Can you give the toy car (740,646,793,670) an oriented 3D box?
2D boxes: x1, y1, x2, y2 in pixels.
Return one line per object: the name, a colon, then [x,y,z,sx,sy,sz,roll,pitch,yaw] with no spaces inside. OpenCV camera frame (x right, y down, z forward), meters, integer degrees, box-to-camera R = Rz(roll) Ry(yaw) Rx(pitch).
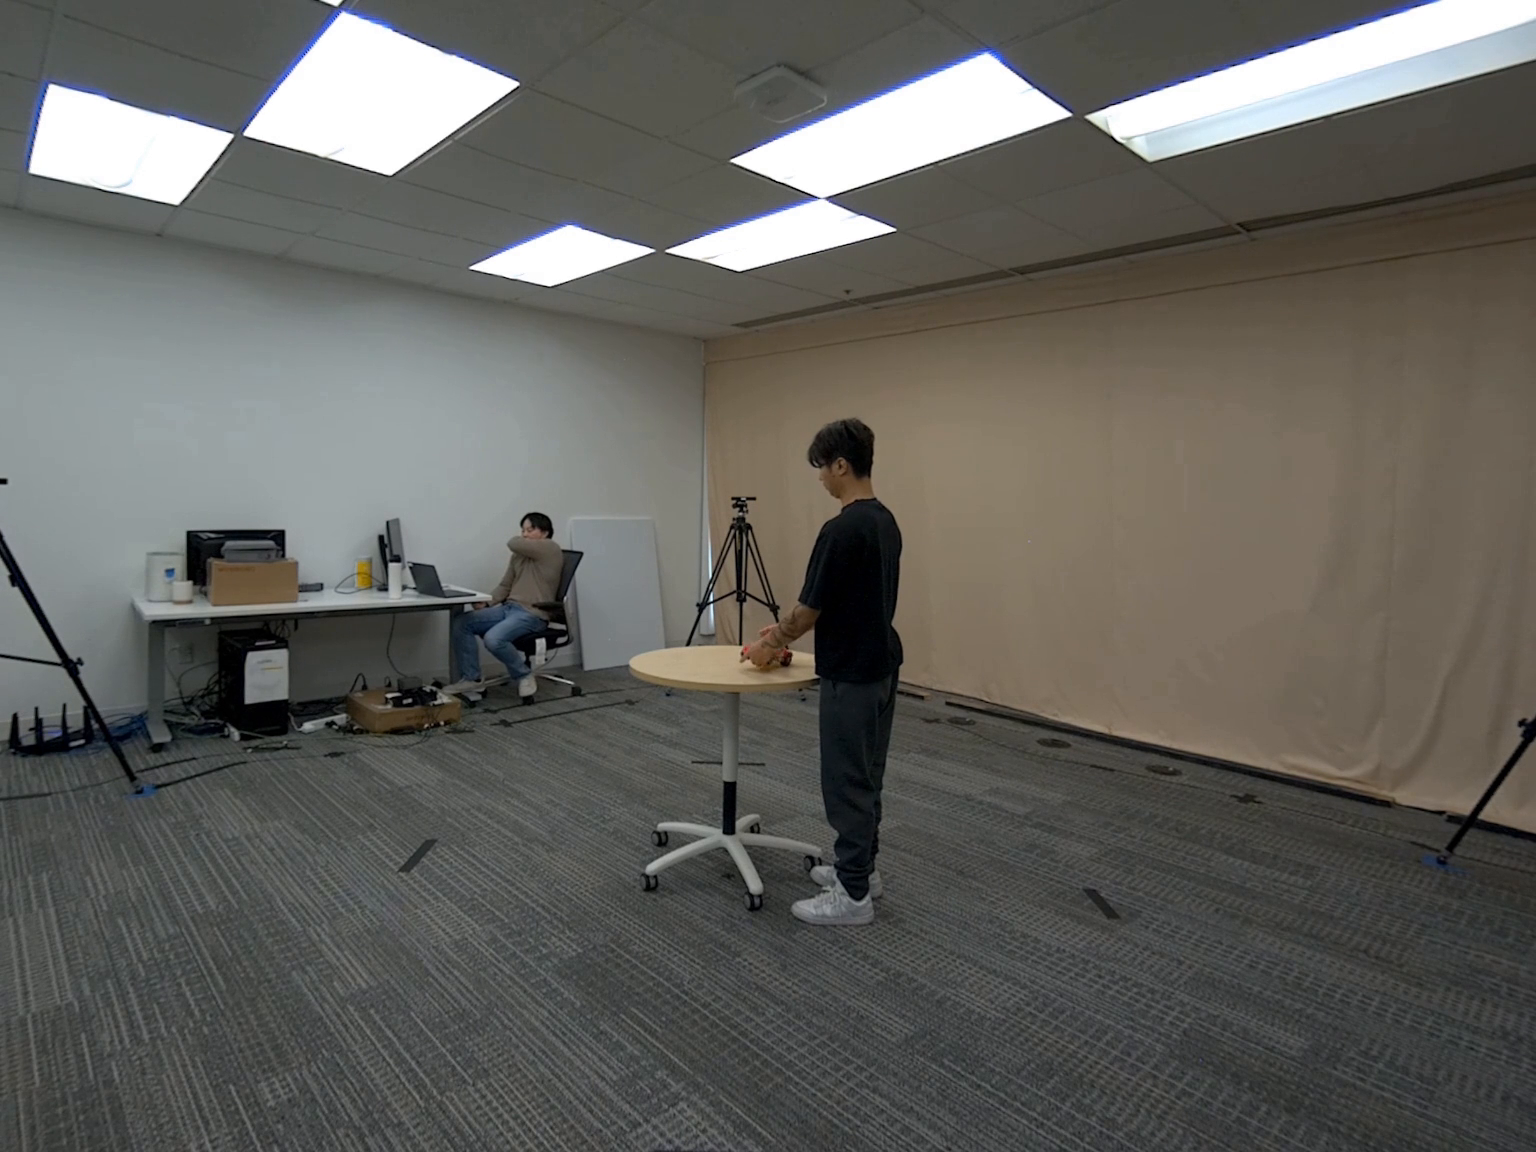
toy car: [0.003,0.287,3.055,0.133,0.083,0.250,6,6,28]
